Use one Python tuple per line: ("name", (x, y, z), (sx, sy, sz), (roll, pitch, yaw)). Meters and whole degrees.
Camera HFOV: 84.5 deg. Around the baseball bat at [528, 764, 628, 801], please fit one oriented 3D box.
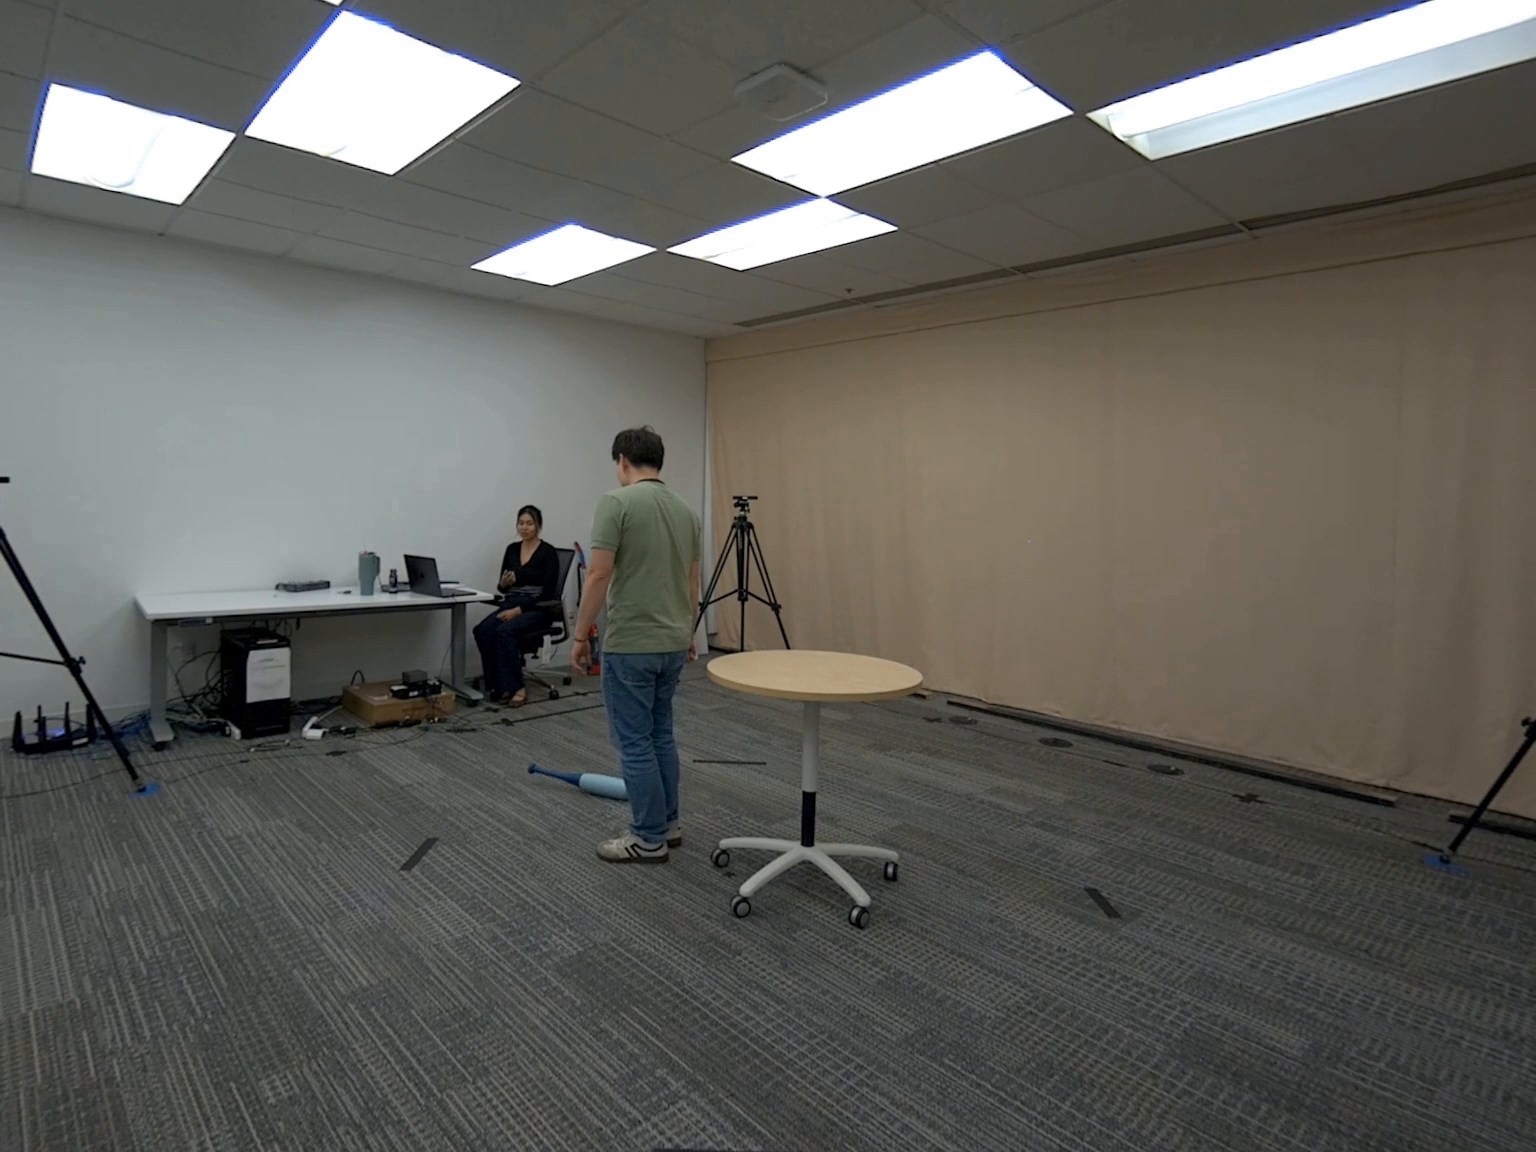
("baseball bat", (-0.893, 0.957, 3.940), (0.552, 0.089, 0.088), (5, 5, 20))
